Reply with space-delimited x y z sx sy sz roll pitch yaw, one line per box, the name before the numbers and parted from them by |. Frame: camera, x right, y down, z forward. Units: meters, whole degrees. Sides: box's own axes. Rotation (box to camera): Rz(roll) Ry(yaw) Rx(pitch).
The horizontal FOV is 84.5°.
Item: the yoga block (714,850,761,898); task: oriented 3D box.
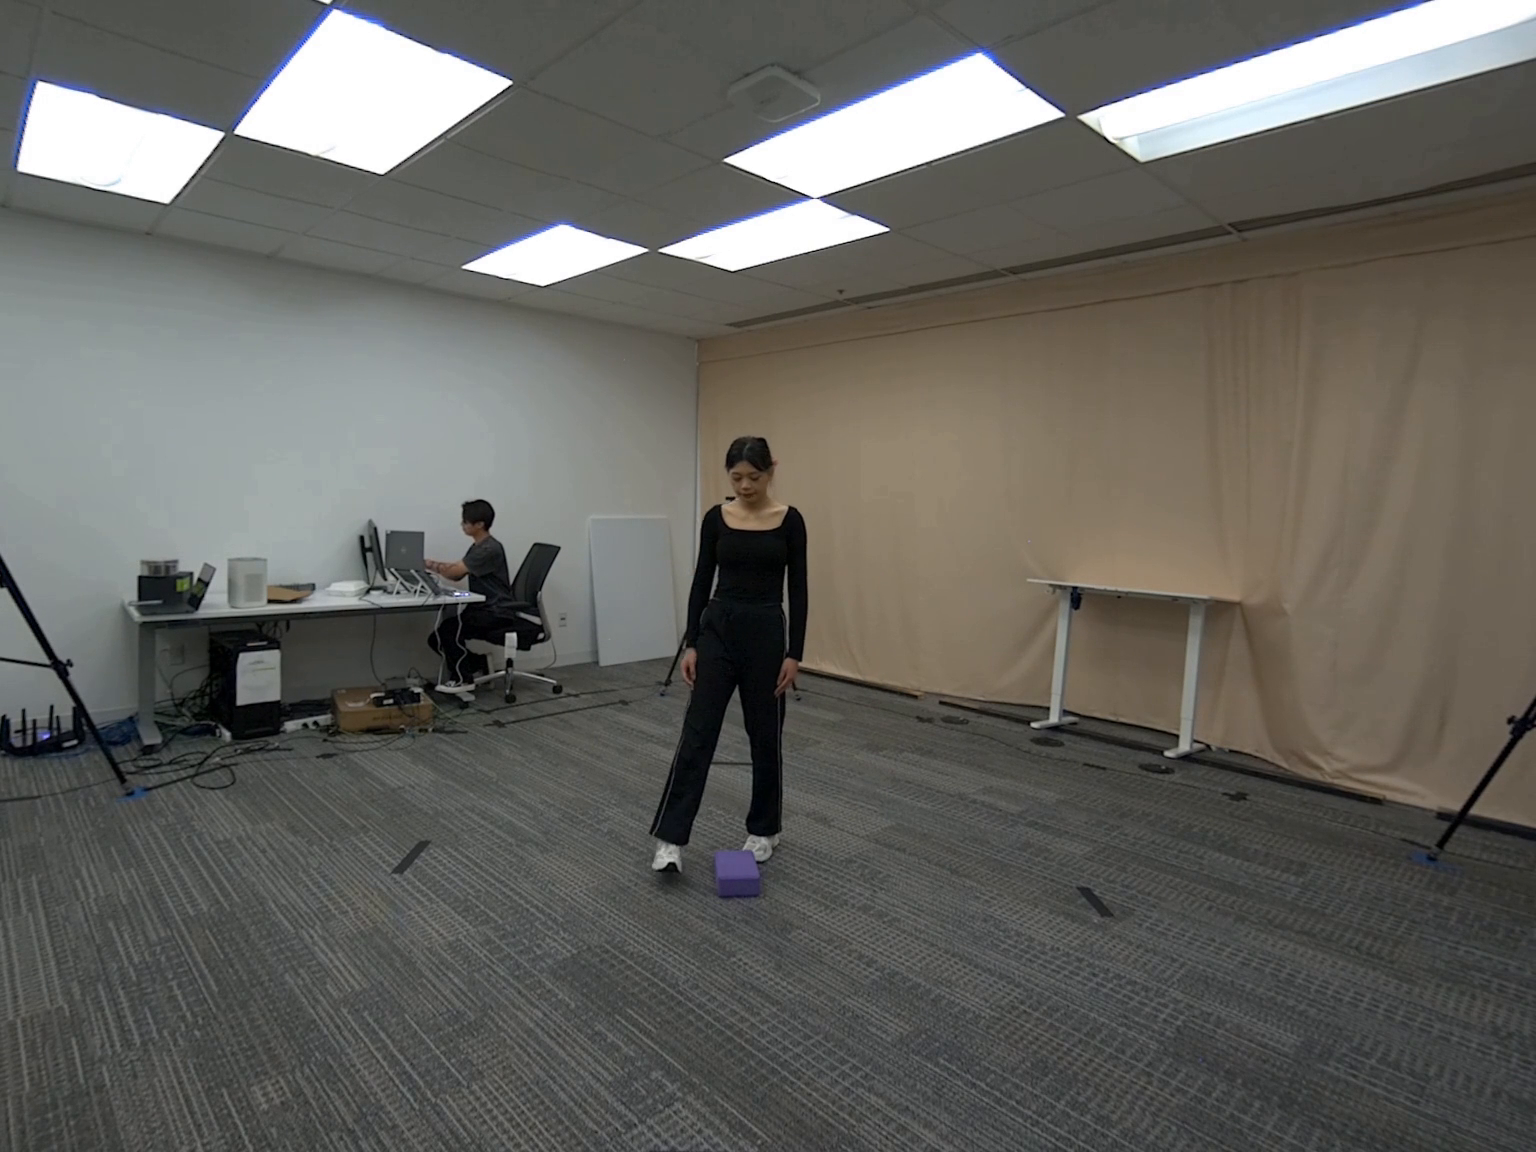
yoga block | -0.124 1.073 3.043 0.148 0.076 0.231 0 4 -7
